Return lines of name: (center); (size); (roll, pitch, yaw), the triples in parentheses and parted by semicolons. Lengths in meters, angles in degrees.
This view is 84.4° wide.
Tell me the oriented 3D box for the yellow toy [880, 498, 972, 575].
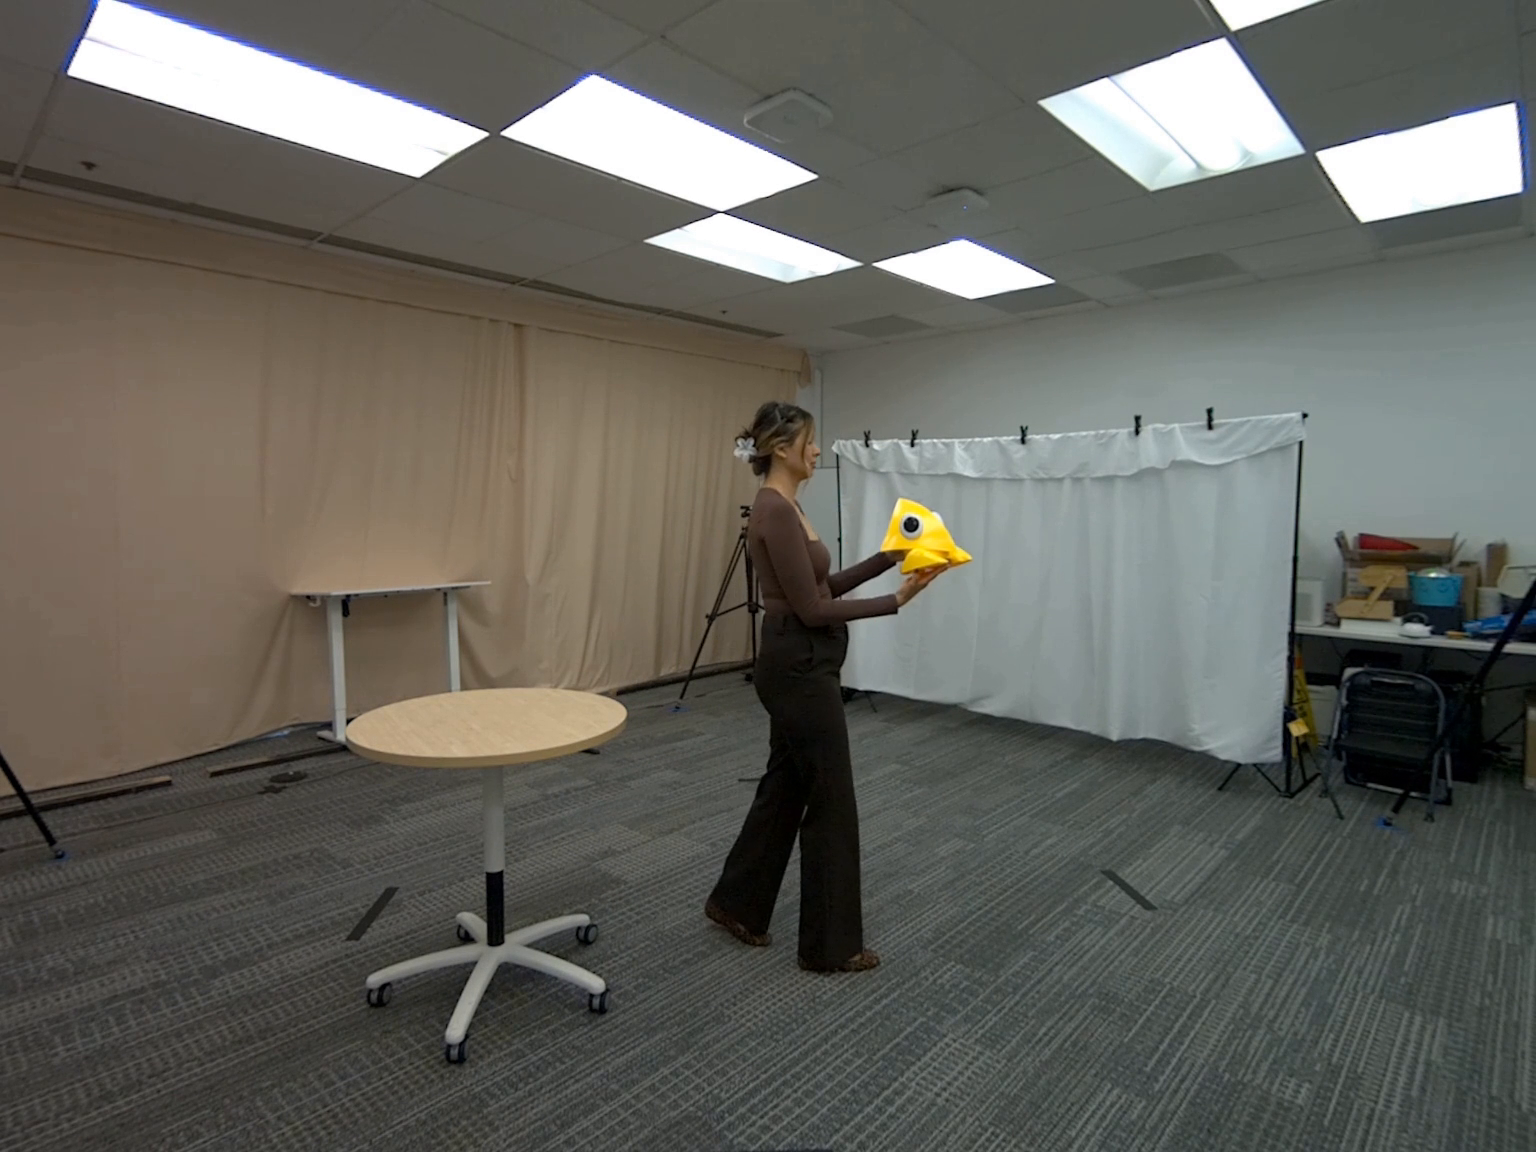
yellow toy: (0.458, -0.134, 2.436); (0.199, 0.232, 0.197); (-3, -11, -38)
